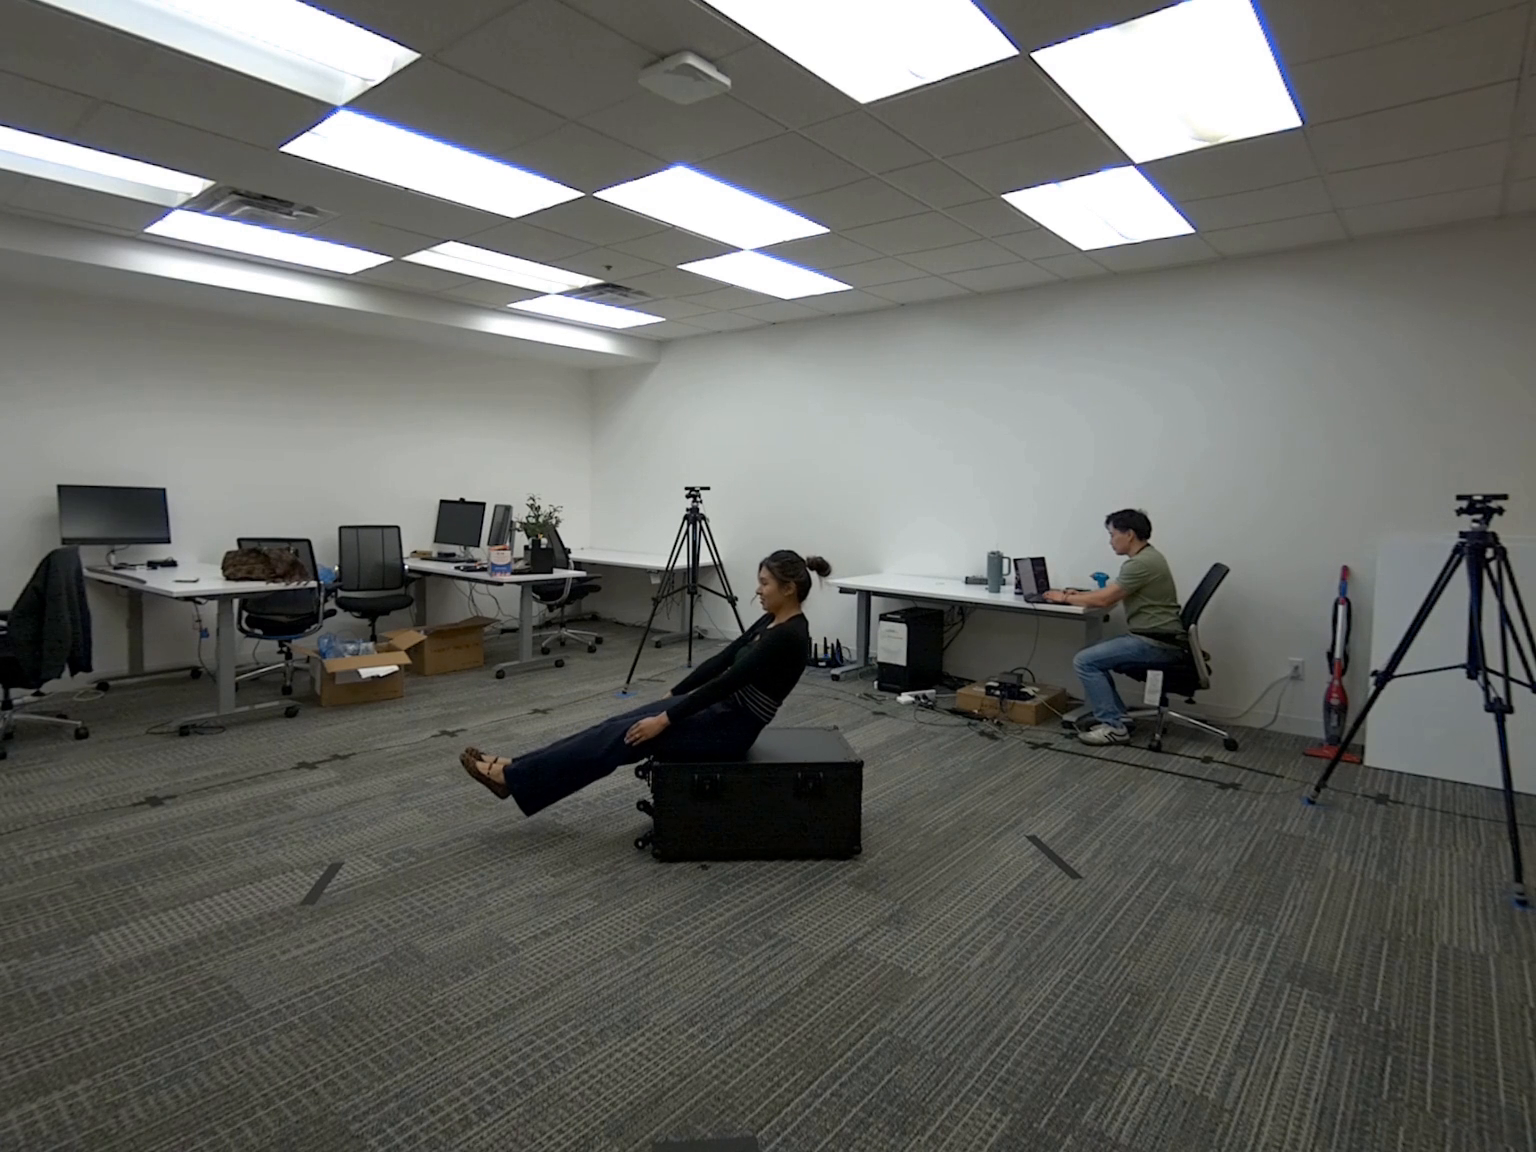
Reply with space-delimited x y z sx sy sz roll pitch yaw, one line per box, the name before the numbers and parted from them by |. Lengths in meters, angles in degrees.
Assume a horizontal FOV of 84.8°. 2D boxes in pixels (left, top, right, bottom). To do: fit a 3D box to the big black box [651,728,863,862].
big black box | -0.105 0.844 3.388 0.857 0.395 0.526 0 5 -5
